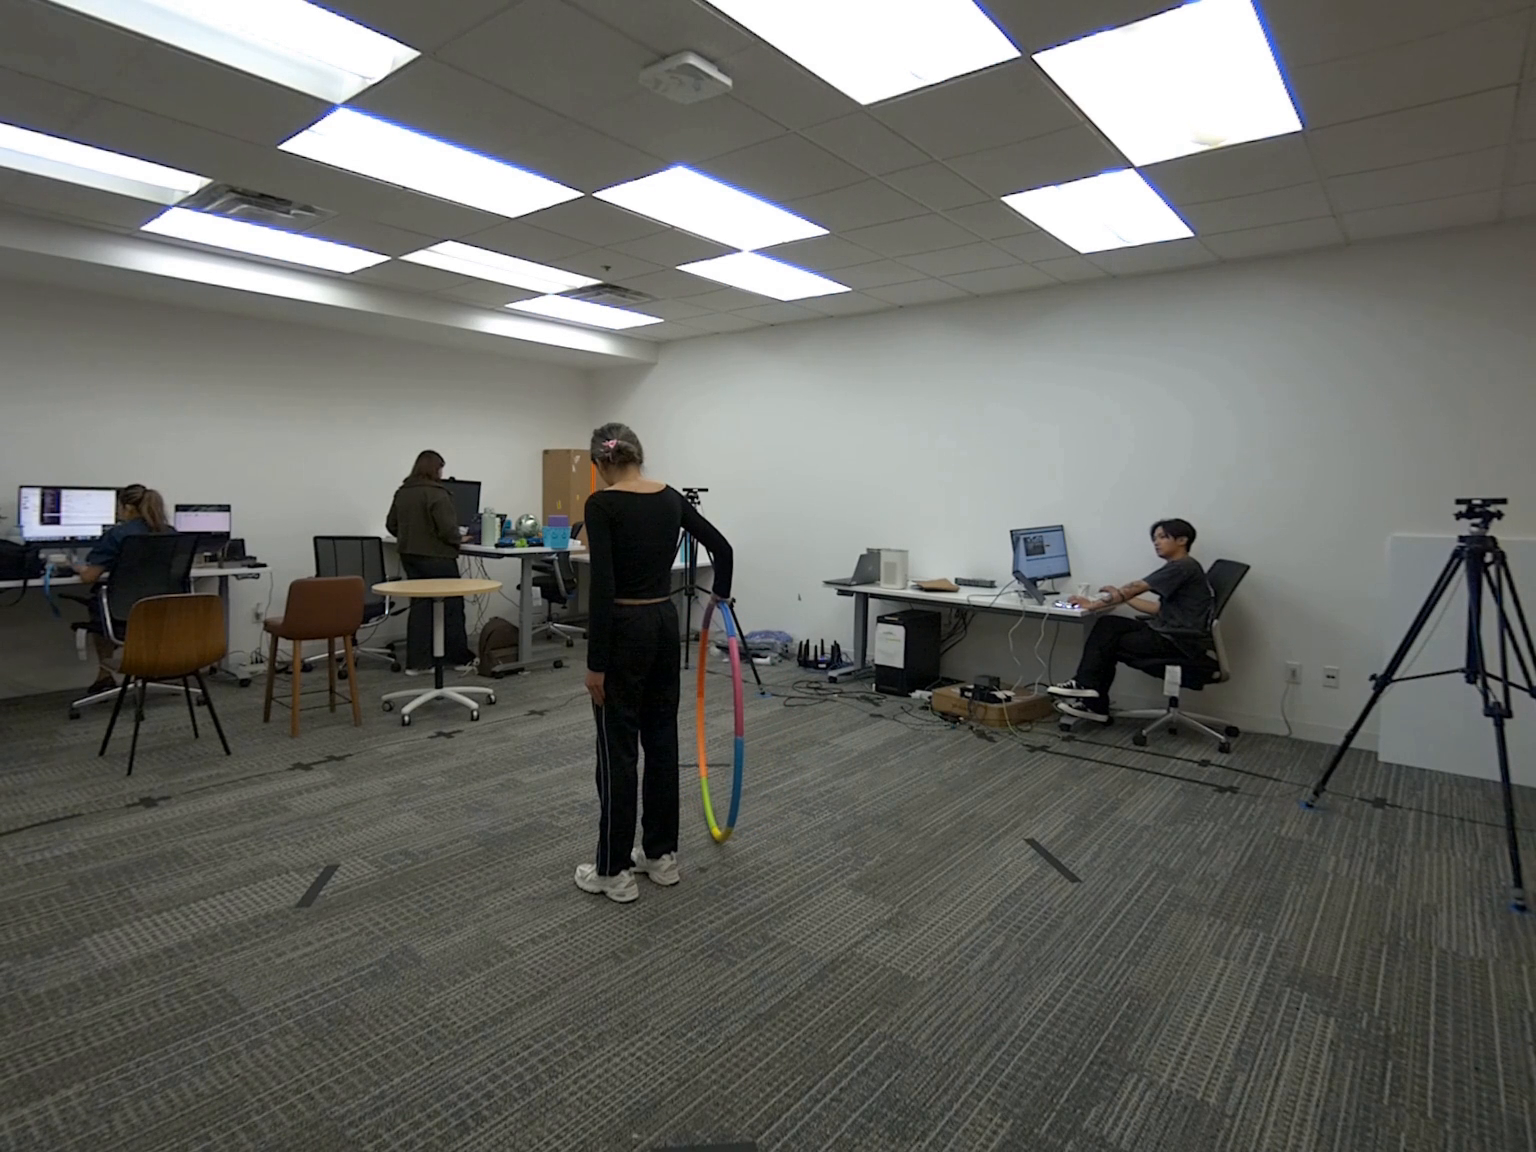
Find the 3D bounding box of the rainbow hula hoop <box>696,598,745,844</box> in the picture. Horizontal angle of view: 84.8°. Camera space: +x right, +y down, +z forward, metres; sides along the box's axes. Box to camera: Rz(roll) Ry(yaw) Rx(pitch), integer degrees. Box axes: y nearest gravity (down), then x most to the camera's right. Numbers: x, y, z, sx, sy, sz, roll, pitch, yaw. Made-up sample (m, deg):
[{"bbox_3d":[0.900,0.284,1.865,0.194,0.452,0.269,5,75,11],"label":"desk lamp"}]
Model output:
[{"bbox_3d":[-0.223,0.554,3.448,0.035,0.976,0.993,2,4,-12],"label":"rainbow hula hoop"}]
